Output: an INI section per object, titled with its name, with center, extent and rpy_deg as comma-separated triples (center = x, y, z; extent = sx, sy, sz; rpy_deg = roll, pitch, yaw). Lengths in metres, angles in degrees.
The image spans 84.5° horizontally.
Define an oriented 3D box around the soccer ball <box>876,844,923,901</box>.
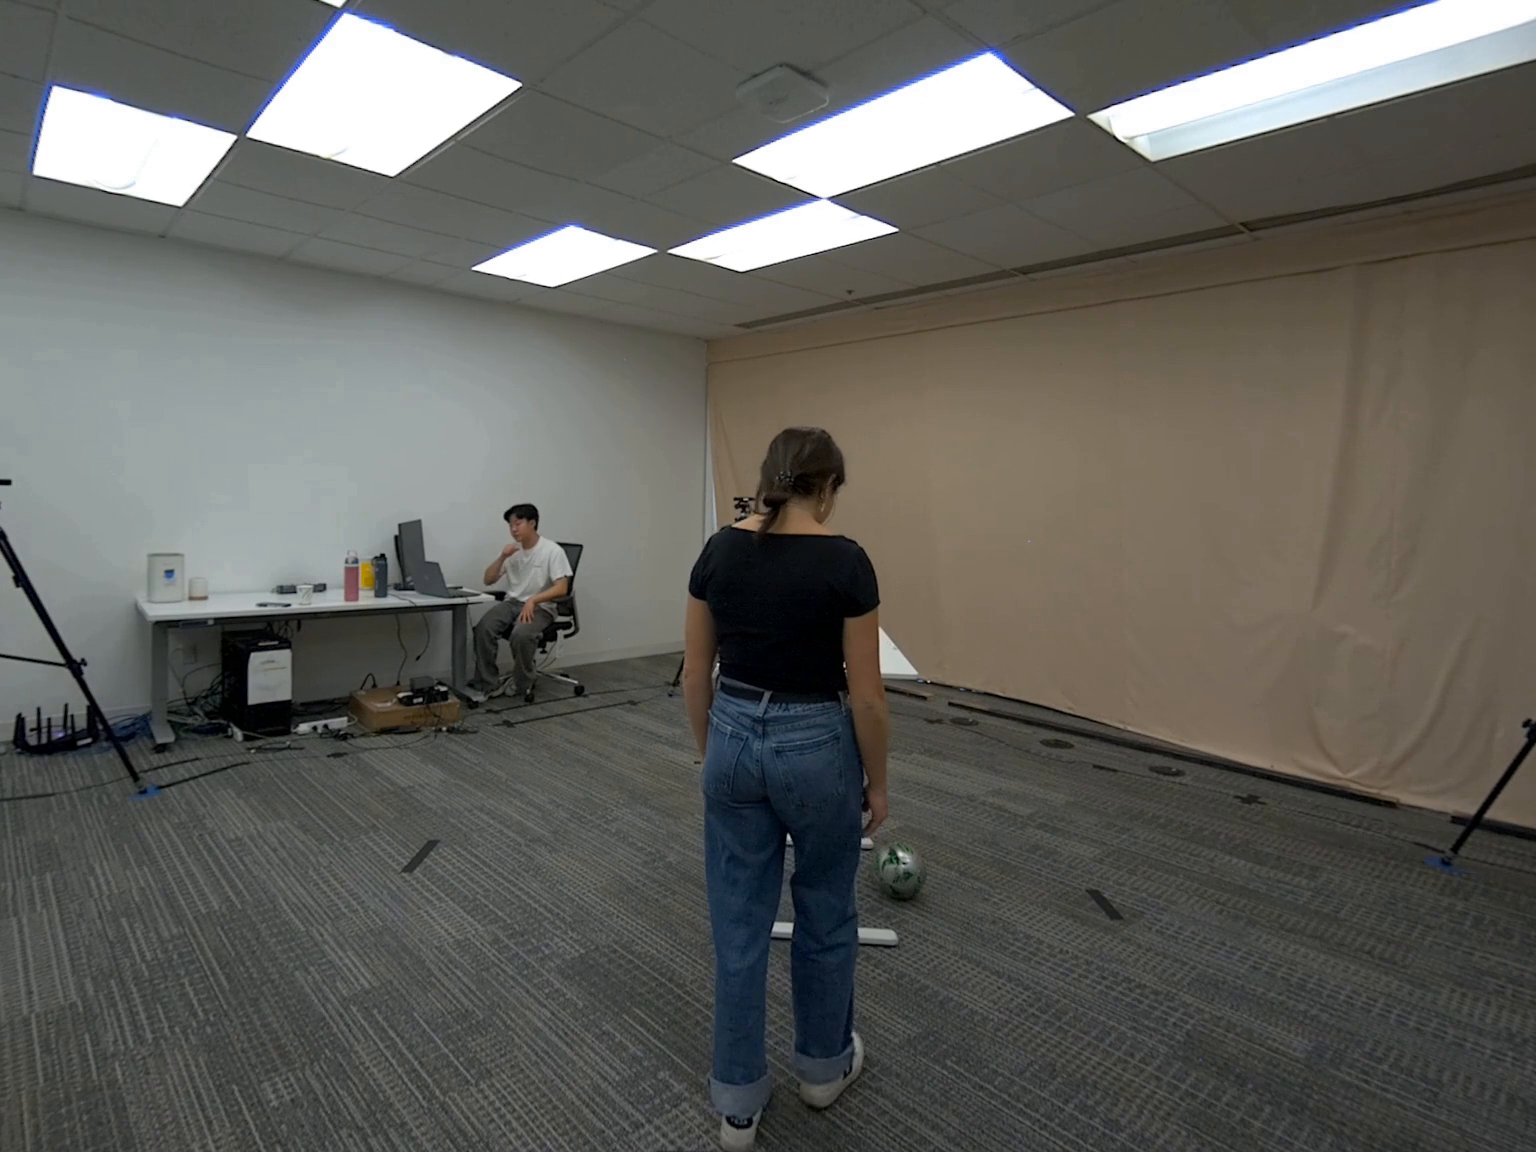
[soccer ball]
center = 0.460, 1.045, 2.966
extent = 0.187, 0.187, 0.188
rpy_deg = 1, 4, -1
